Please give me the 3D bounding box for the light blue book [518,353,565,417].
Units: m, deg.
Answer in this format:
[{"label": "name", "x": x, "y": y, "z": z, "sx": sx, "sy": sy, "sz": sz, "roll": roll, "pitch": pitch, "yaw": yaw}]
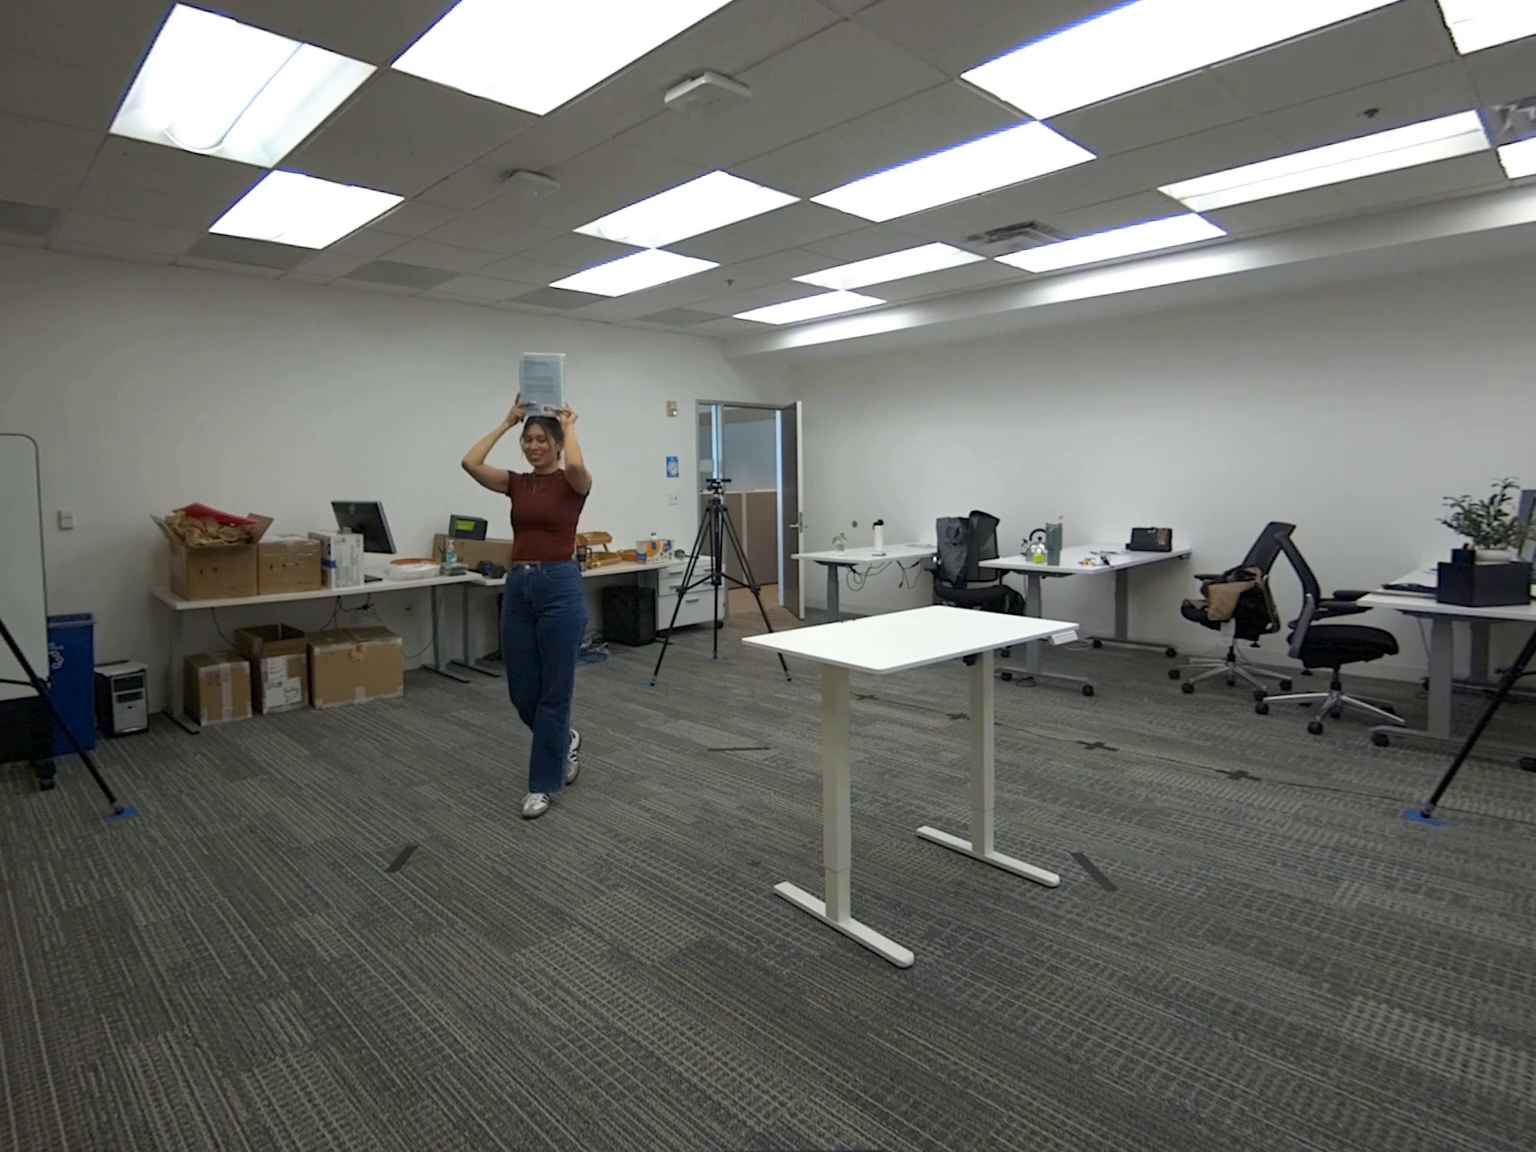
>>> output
[{"label": "light blue book", "x": -0.961, "y": -0.814, "z": 3.639, "sx": 0.192, "sy": 0.258, "sz": 0.059, "roll": 3, "pitch": 12, "yaw": 6}]
